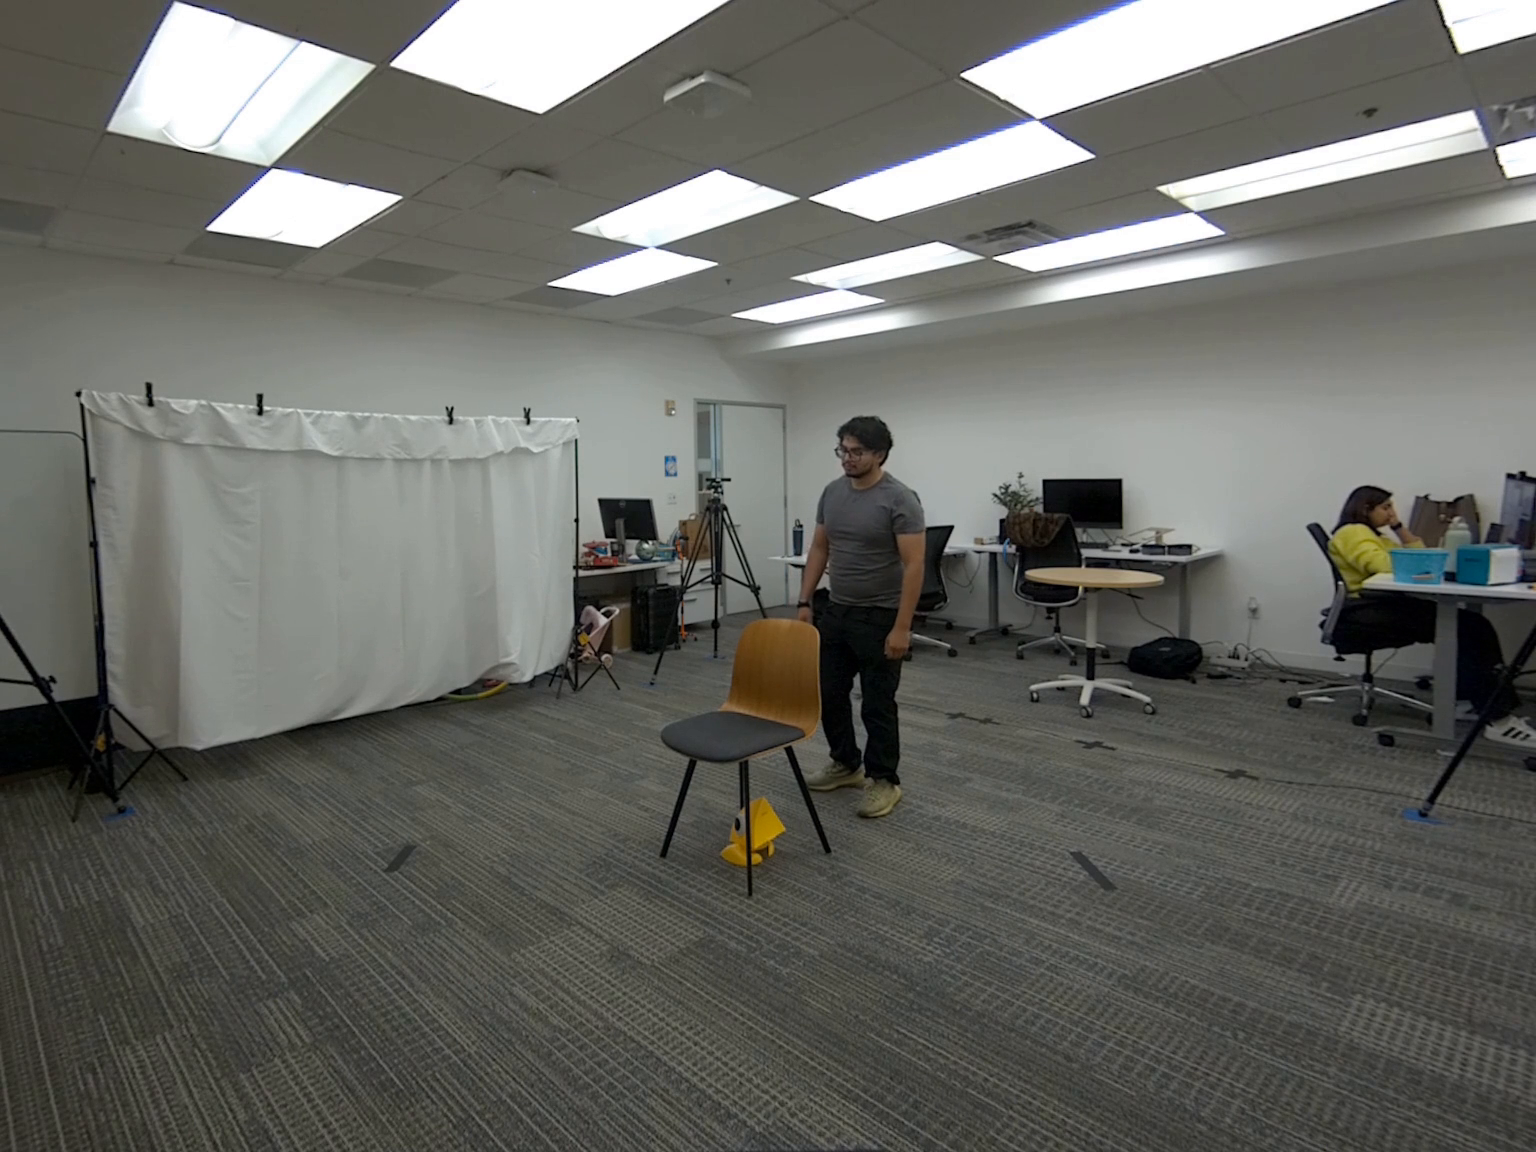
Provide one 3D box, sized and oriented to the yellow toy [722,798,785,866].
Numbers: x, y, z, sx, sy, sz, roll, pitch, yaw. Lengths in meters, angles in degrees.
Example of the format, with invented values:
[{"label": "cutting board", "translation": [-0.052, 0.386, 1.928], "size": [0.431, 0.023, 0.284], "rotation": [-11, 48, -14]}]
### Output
[{"label": "yellow toy", "translation": [-0.061, 0.920, 3.175], "size": [0.199, 0.230, 0.200], "rotation": [3, 6, 36]}]
